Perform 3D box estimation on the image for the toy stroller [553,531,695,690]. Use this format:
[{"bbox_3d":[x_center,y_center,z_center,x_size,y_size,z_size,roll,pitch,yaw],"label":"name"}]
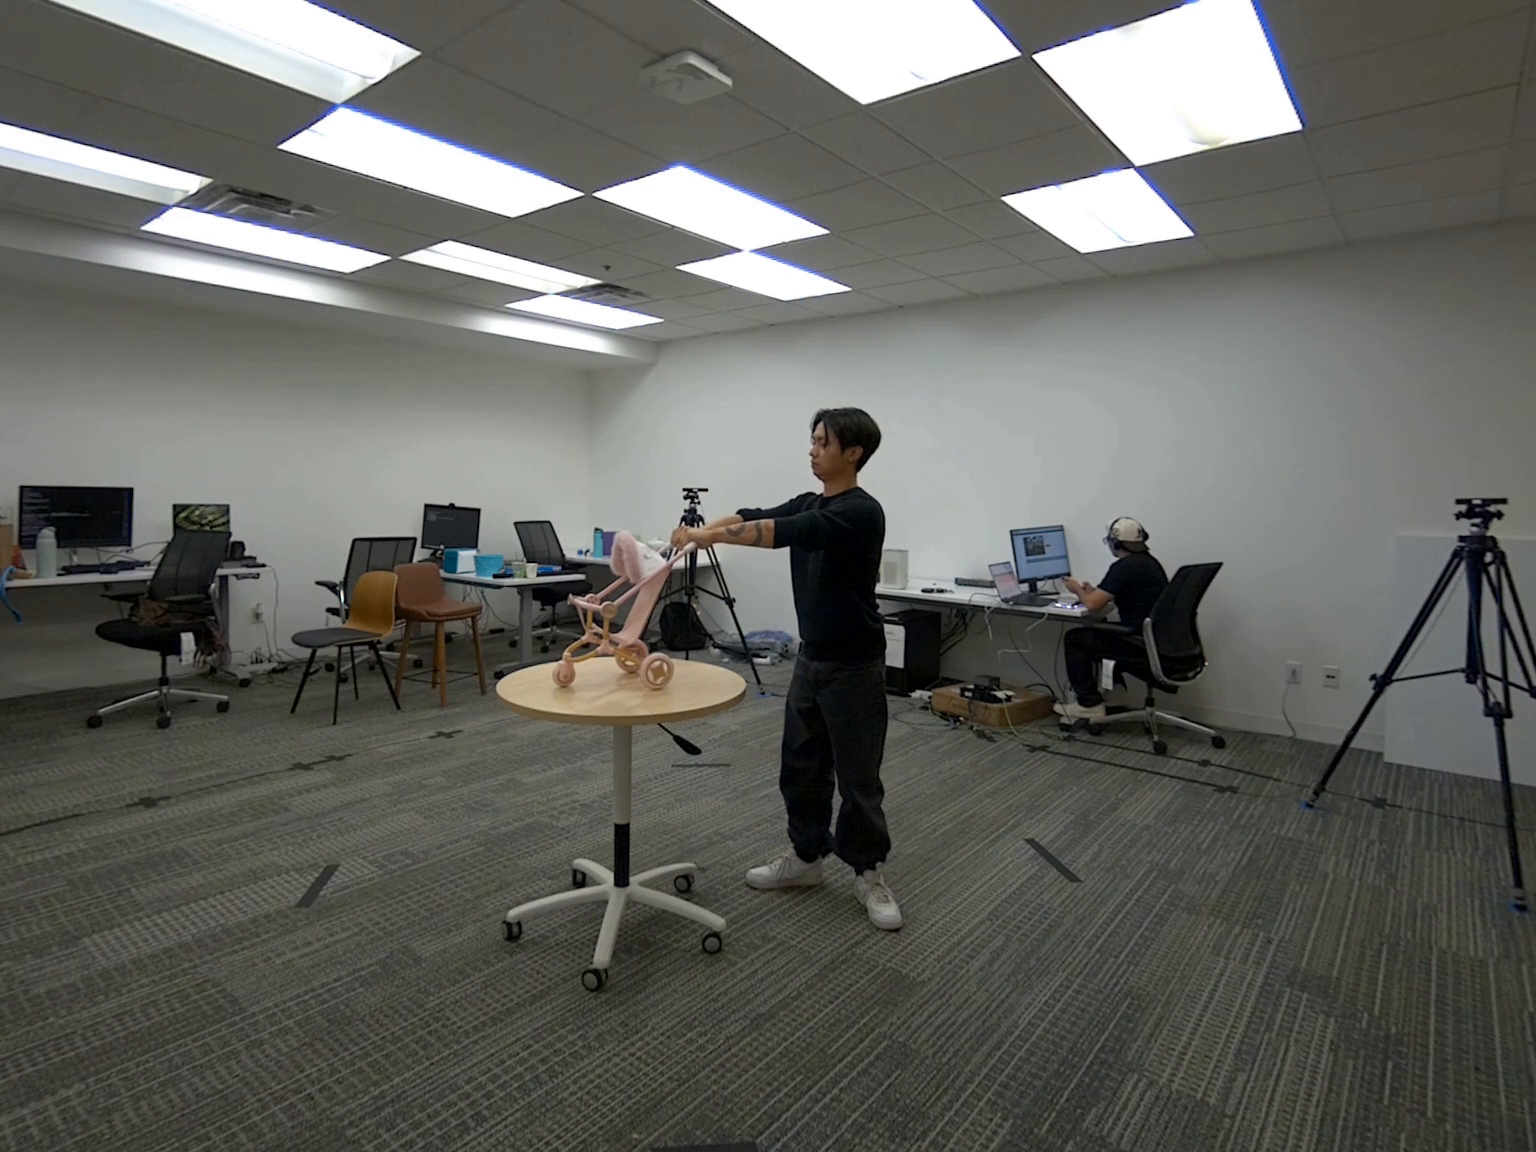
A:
[{"bbox_3d":[-0.462,0.100,2.634,0.333,0.535,0.288,13,-1,-20],"label":"toy stroller"}]
